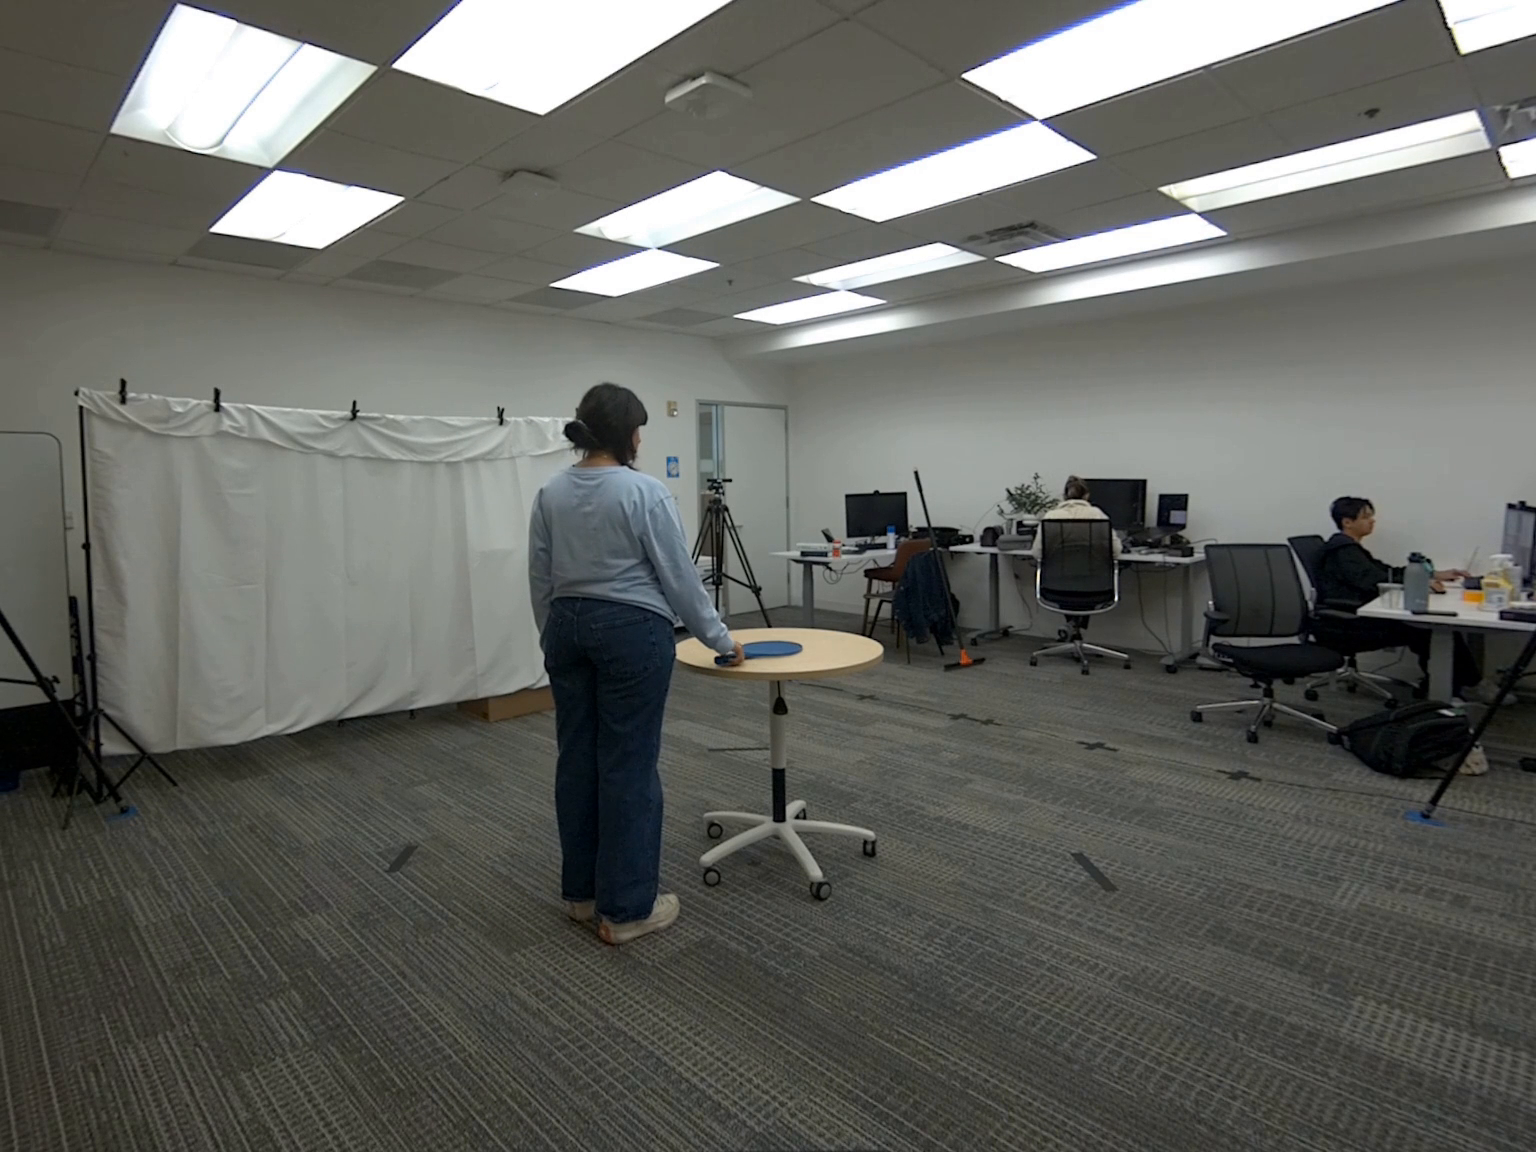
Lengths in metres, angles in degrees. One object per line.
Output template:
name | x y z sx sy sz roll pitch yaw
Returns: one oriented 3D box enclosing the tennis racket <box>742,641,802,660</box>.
tennis racket | -0.037 0.267 3.001 0.220 0.031 0.421 6 8 41
